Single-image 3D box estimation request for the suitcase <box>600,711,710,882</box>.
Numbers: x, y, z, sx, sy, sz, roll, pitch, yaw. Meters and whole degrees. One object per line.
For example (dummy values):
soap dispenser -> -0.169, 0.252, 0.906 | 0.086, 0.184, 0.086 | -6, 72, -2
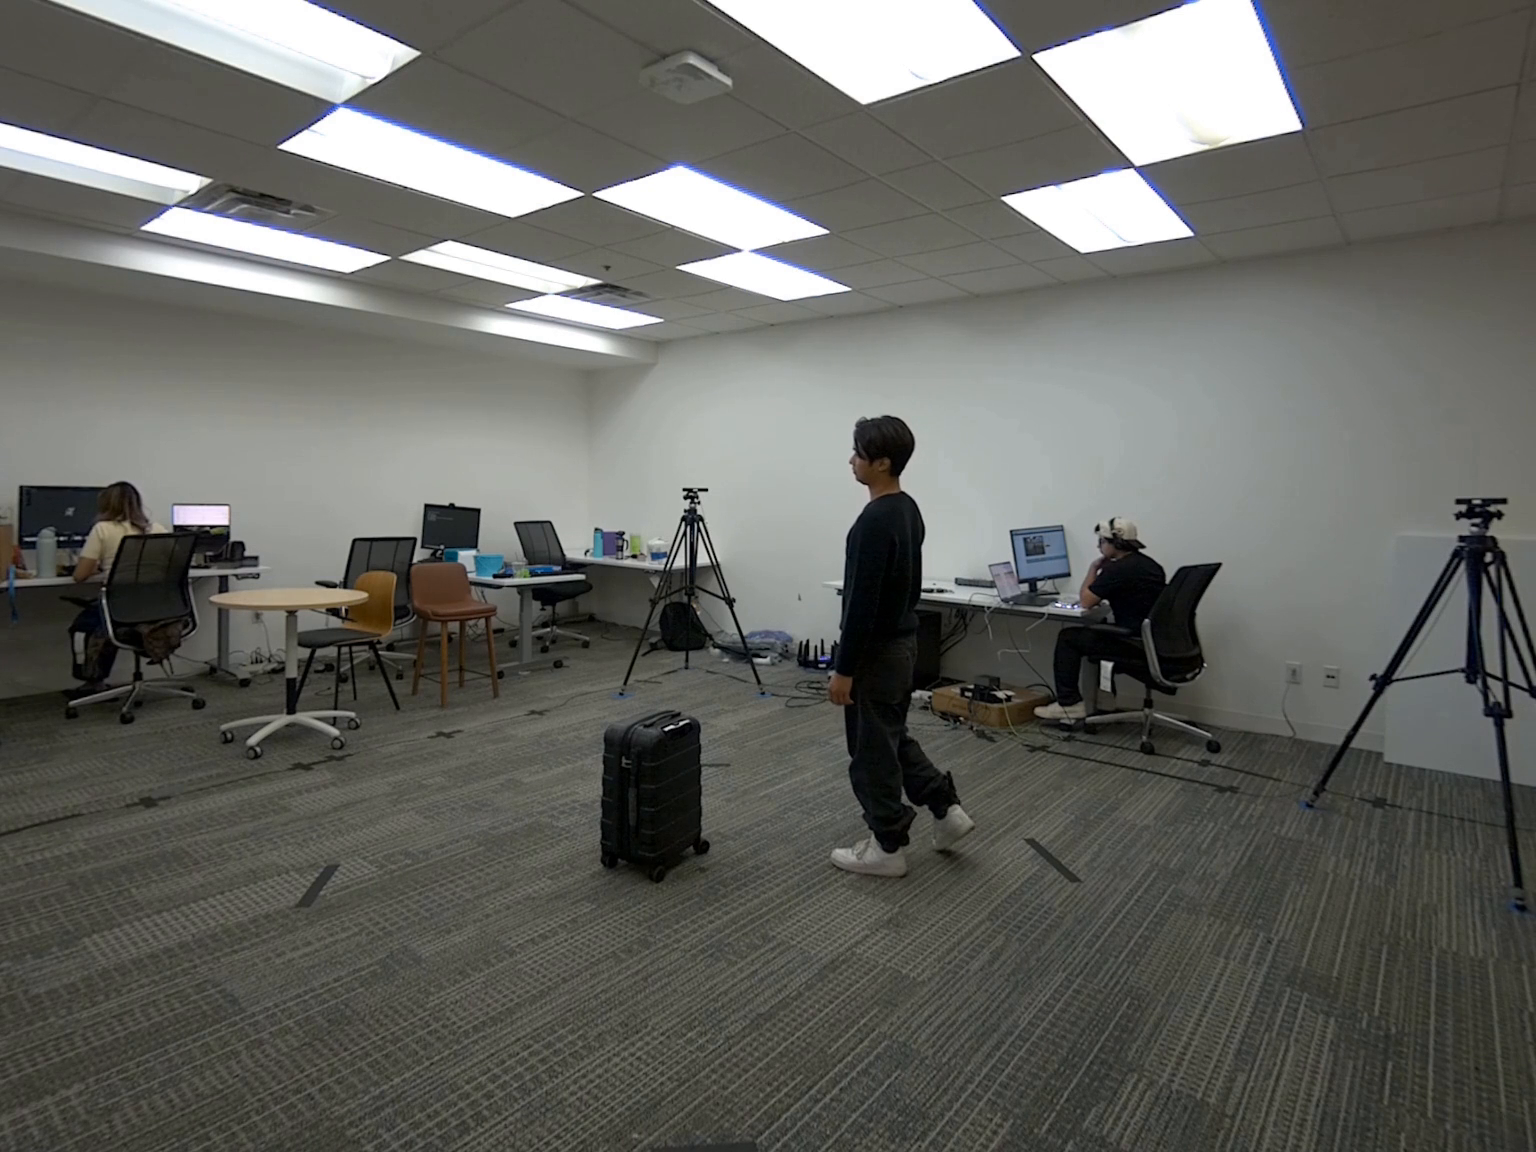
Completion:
suitcase -> -0.437, 0.786, 3.166 | 0.255, 0.548, 0.366 | 2, 4, 30
